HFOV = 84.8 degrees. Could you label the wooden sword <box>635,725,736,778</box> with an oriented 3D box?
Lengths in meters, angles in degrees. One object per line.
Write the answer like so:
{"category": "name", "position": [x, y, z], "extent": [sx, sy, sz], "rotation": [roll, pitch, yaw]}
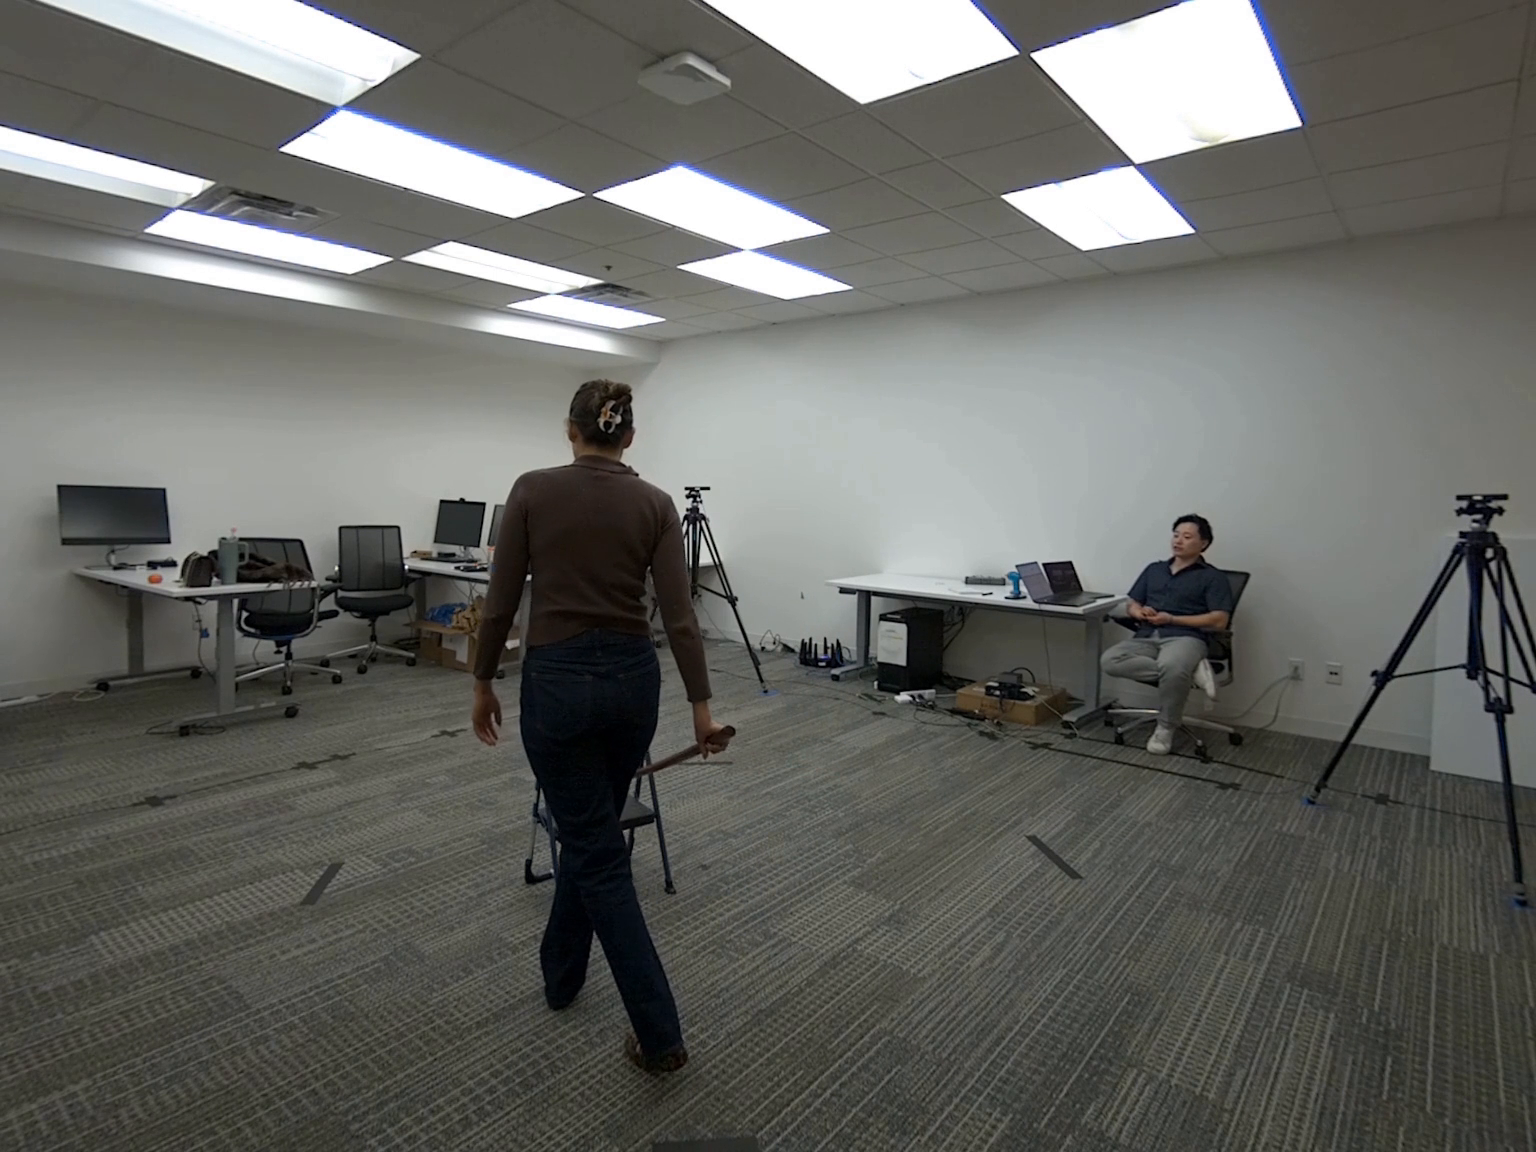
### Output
{"category": "wooden sword", "position": [-0.285, 0.512, 2.441], "extent": [0.024, 0.051, 1.027], "rotation": [-45, 3, -29]}
